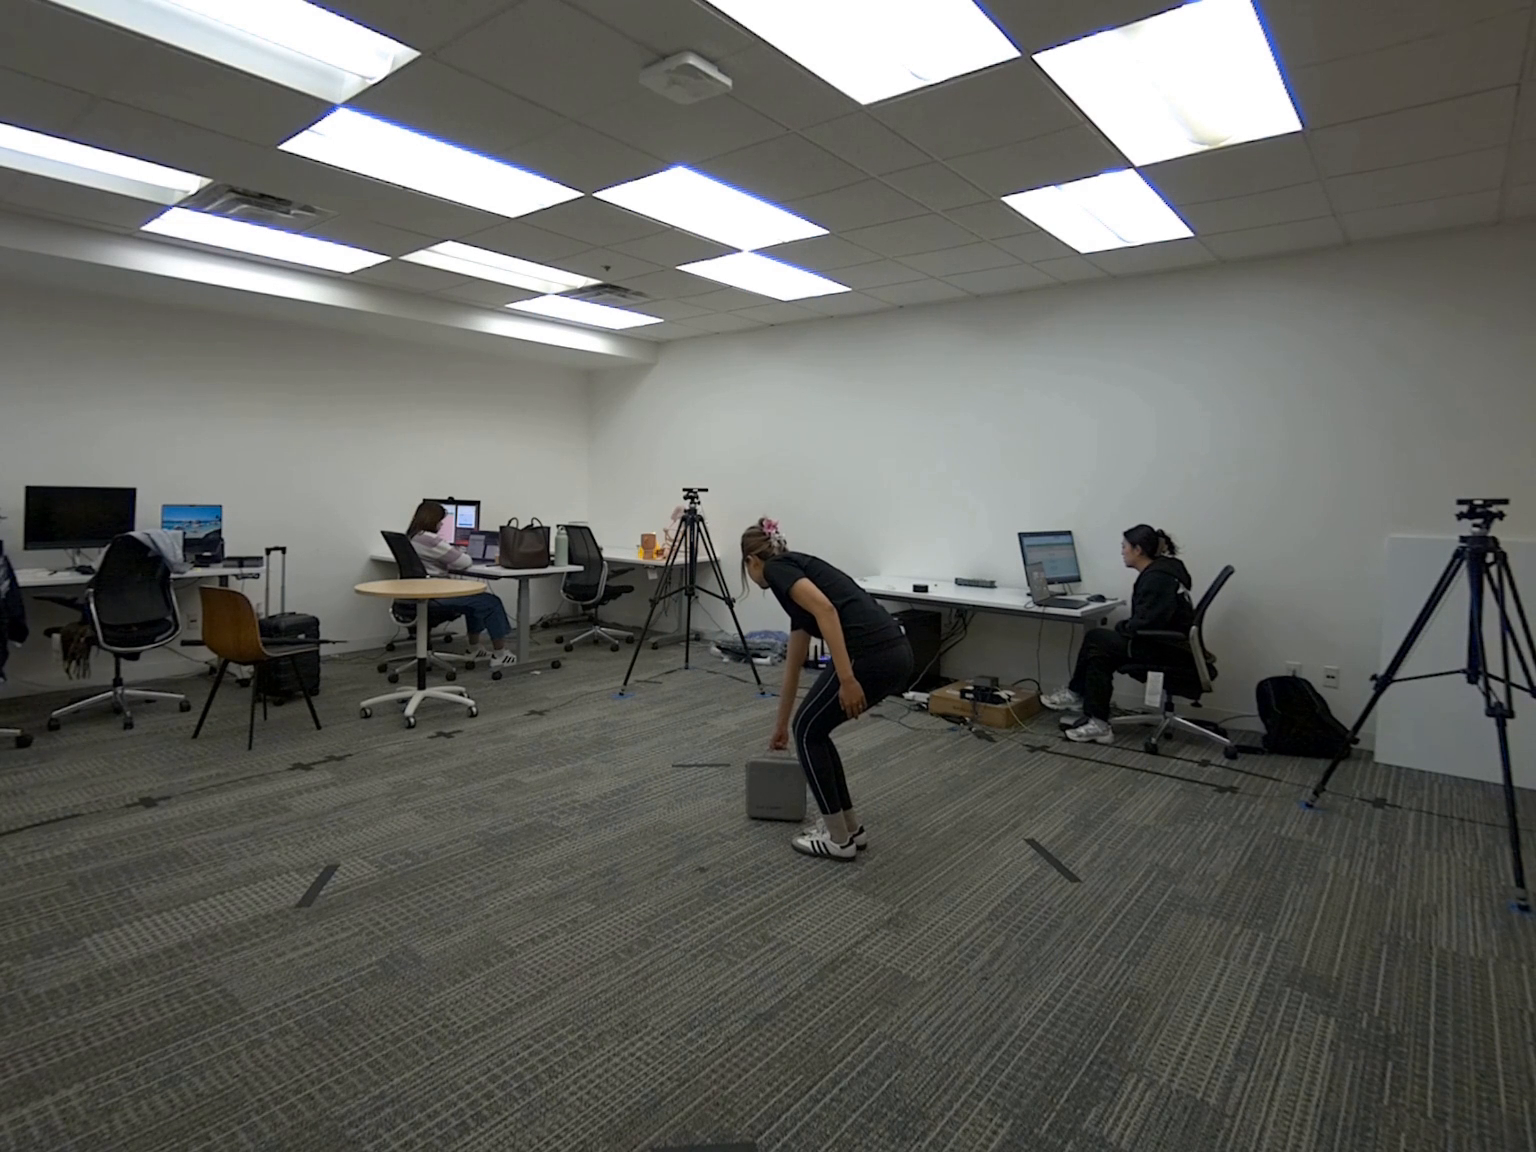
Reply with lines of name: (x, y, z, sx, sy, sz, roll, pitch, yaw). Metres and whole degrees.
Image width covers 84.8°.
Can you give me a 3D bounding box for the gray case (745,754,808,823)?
gray case: (0.024, 0.883, 3.622, 0.260, 0.261, 0.103, 3, -1, 10)
